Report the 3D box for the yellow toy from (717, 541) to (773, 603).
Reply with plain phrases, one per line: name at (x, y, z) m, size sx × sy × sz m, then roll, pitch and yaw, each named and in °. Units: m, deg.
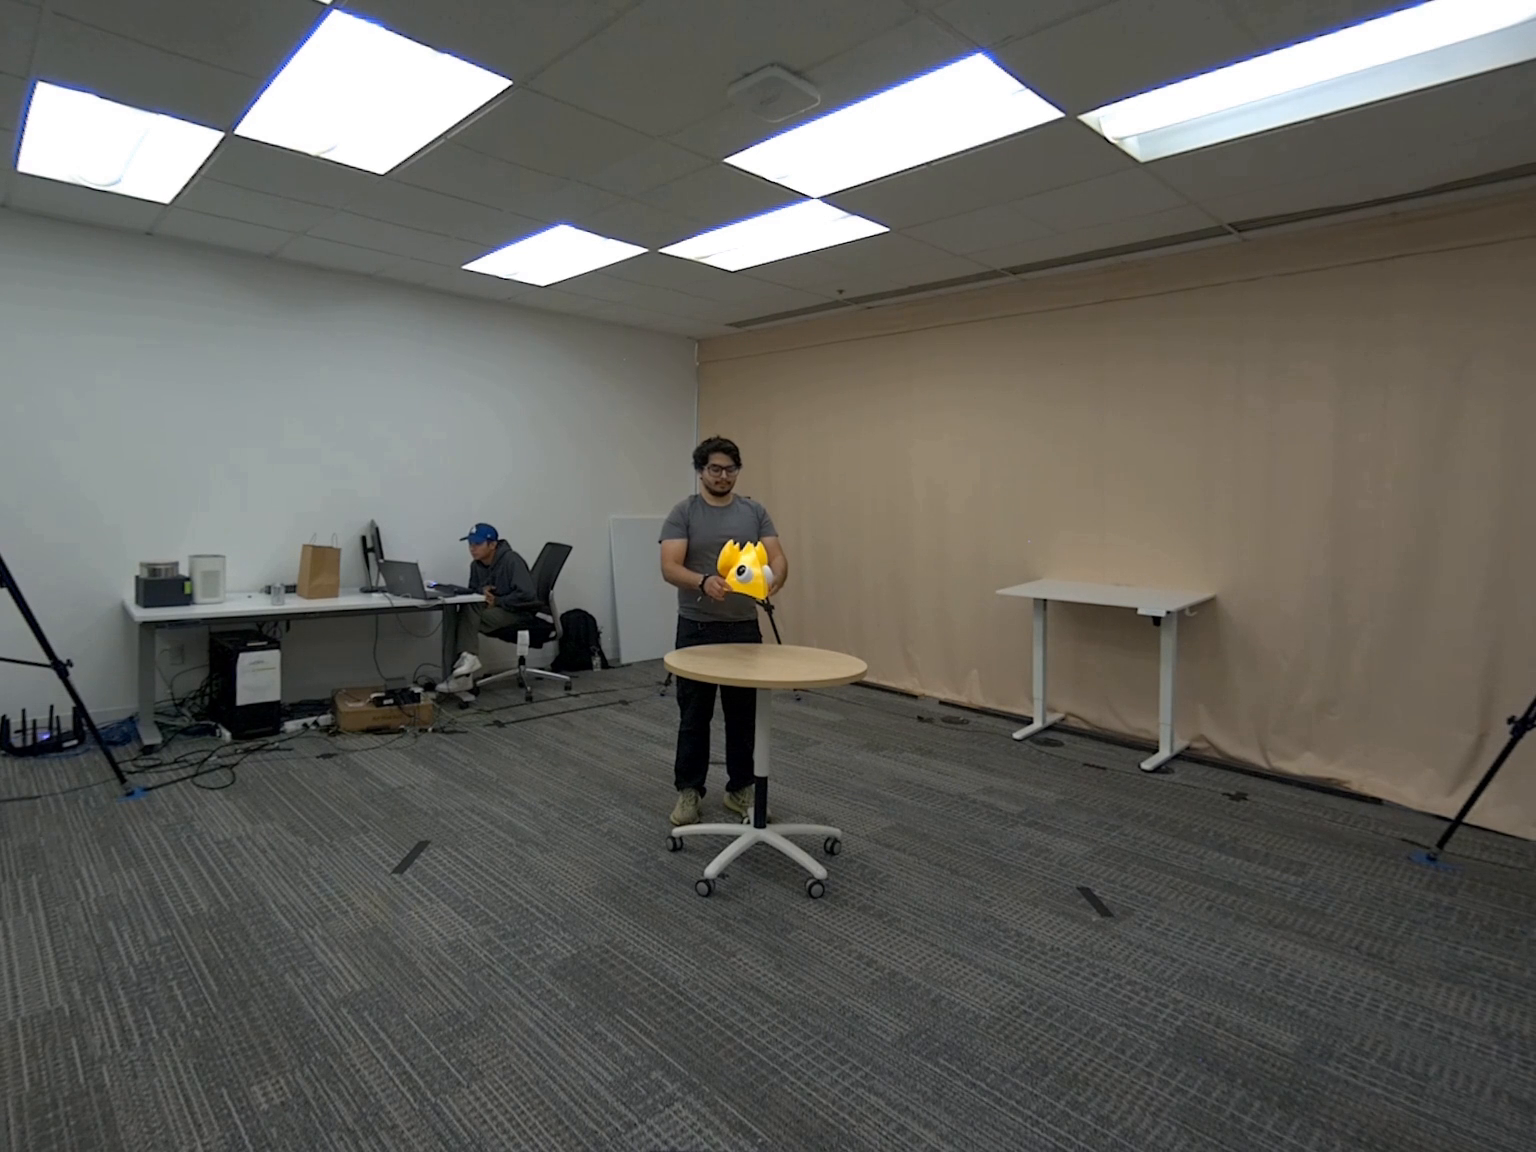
yellow toy at (-0.072, -0.011, 3.251) m, size 0.201 × 0.191 × 0.237 m, roll 3°, pitch 21°, yaw -27°
